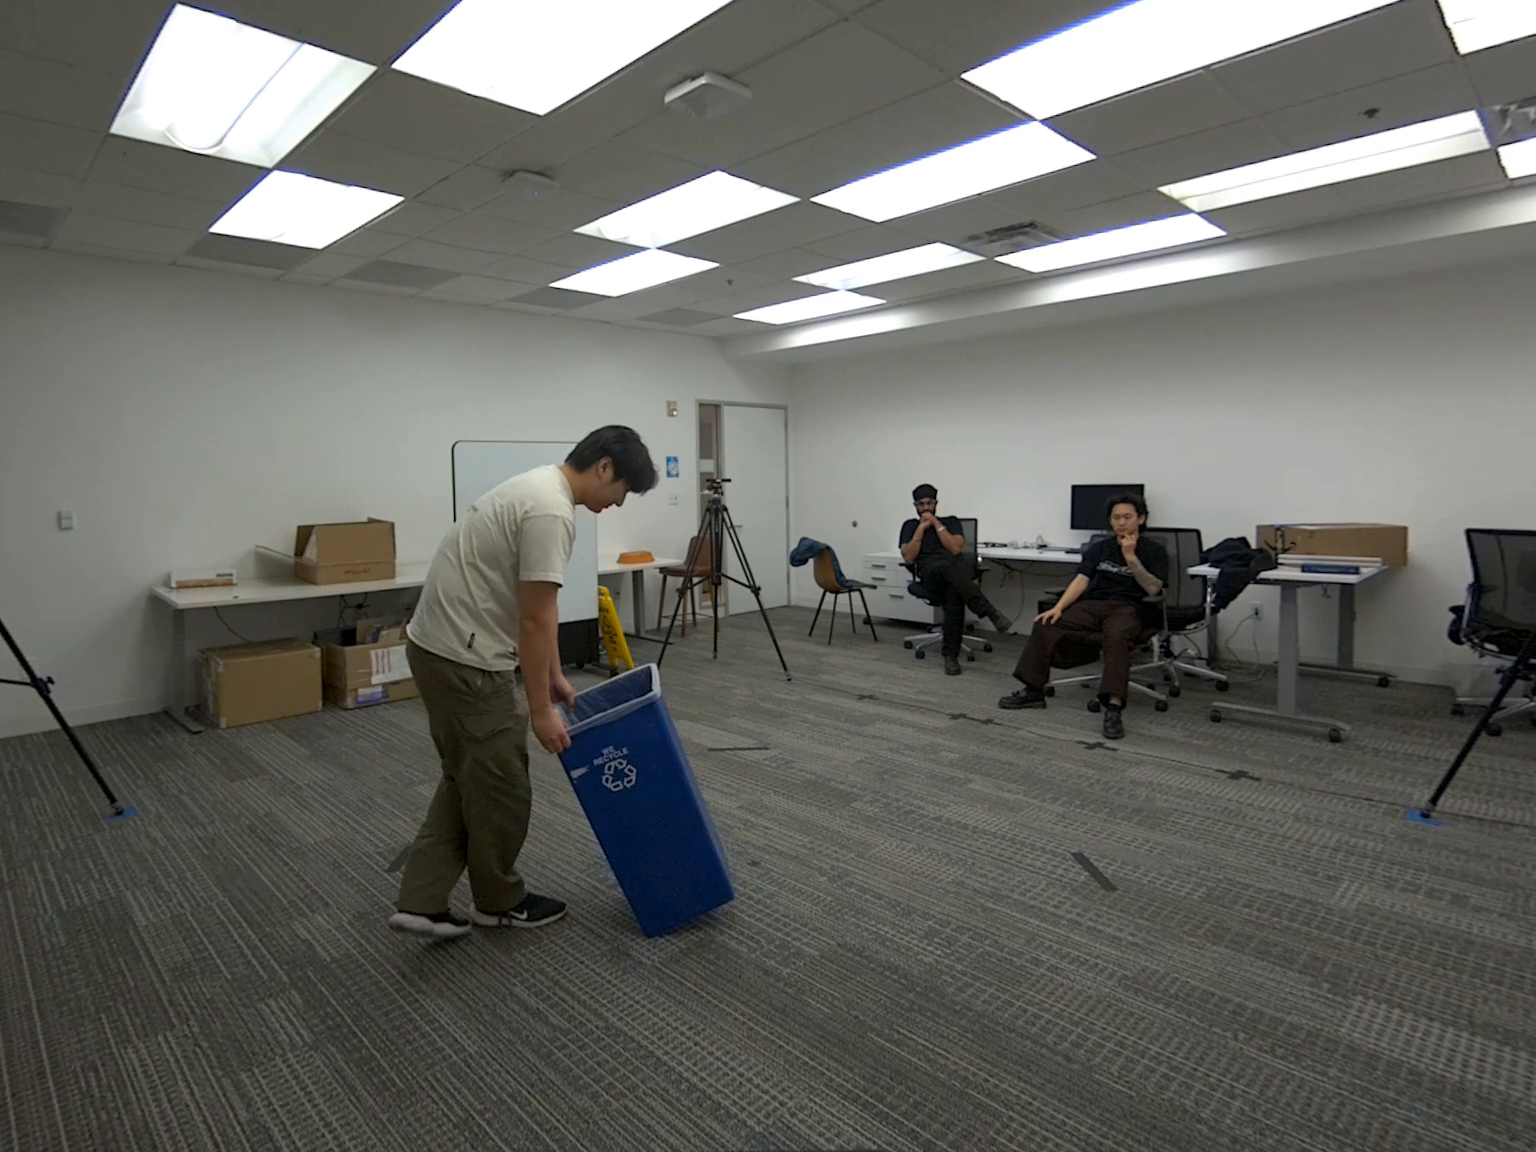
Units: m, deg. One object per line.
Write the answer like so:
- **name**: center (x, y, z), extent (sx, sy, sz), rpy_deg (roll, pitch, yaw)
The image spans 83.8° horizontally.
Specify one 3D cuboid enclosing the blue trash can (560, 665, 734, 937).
- **blue trash can**: center (-0.388, 0.705, 2.730), extent (0.373, 0.706, 0.383), rpy_deg (-24, 9, -5)
